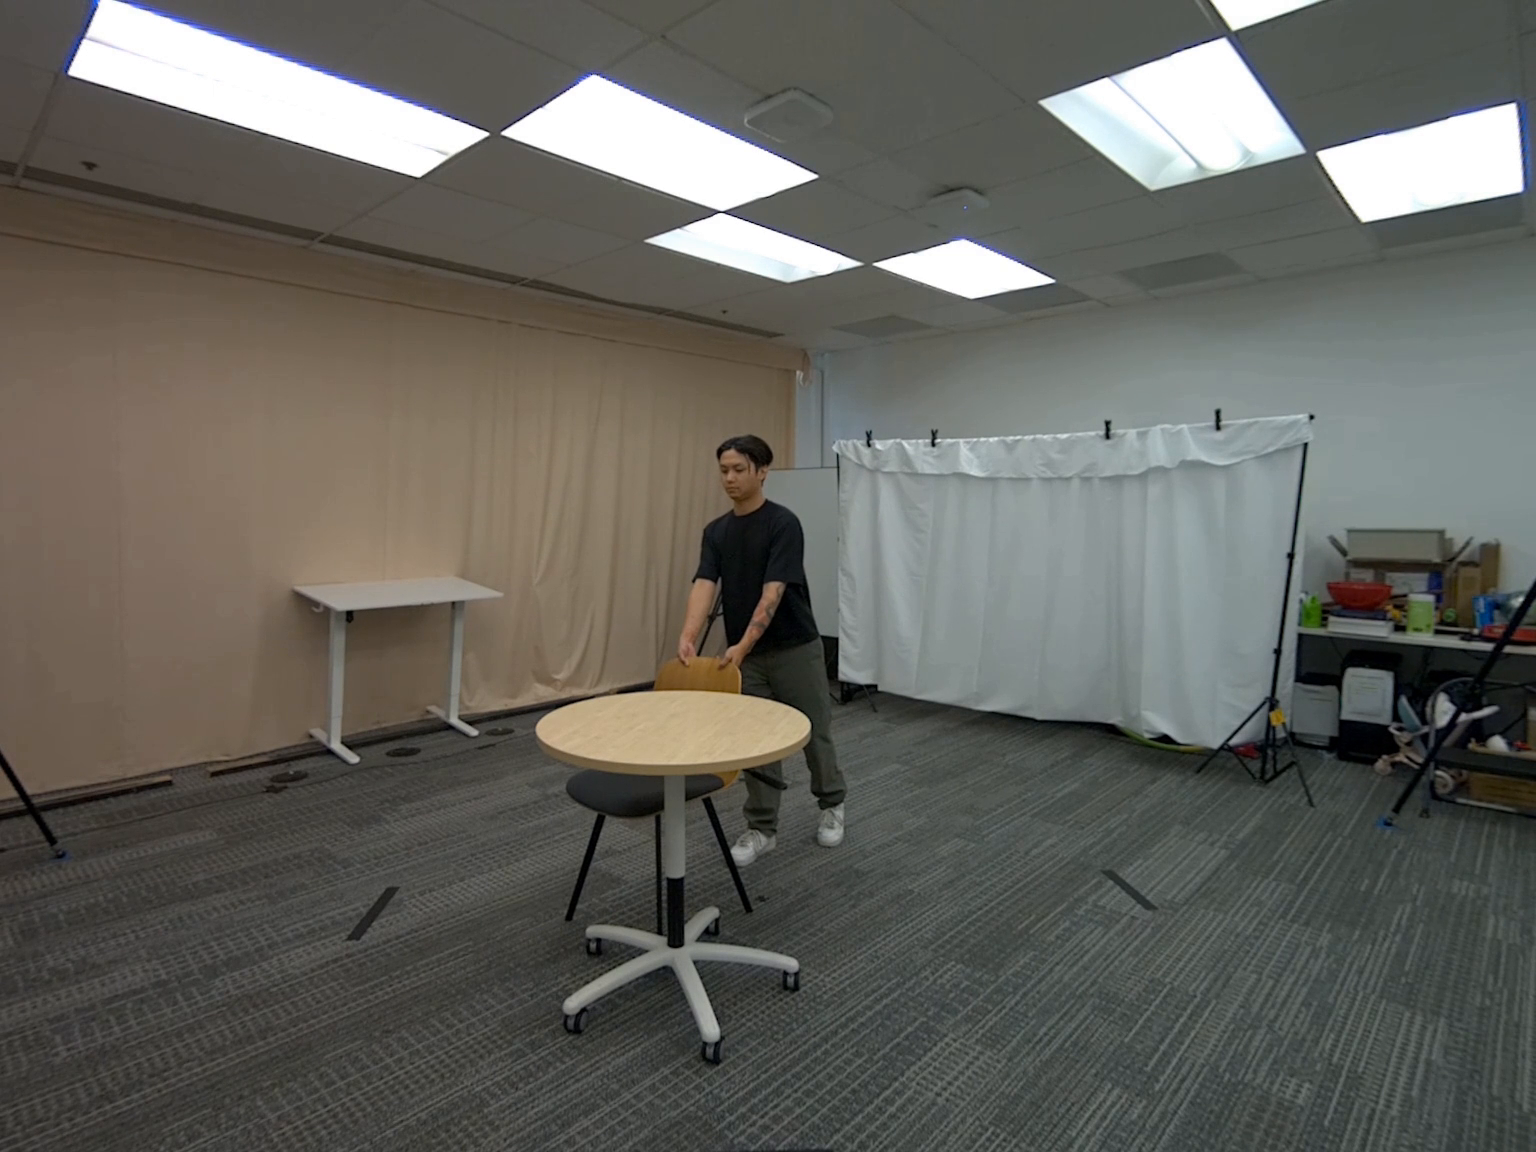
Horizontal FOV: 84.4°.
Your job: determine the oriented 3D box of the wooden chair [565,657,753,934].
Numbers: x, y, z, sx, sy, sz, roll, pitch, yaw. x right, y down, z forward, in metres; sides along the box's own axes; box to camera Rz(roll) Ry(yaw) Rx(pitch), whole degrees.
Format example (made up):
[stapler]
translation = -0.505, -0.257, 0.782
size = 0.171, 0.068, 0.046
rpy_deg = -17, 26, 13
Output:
[wooden chair]
translation = -0.370, 0.728, 2.826
size = 0.493, 0.878, 0.506
rpy_deg = 2, -1, 39
